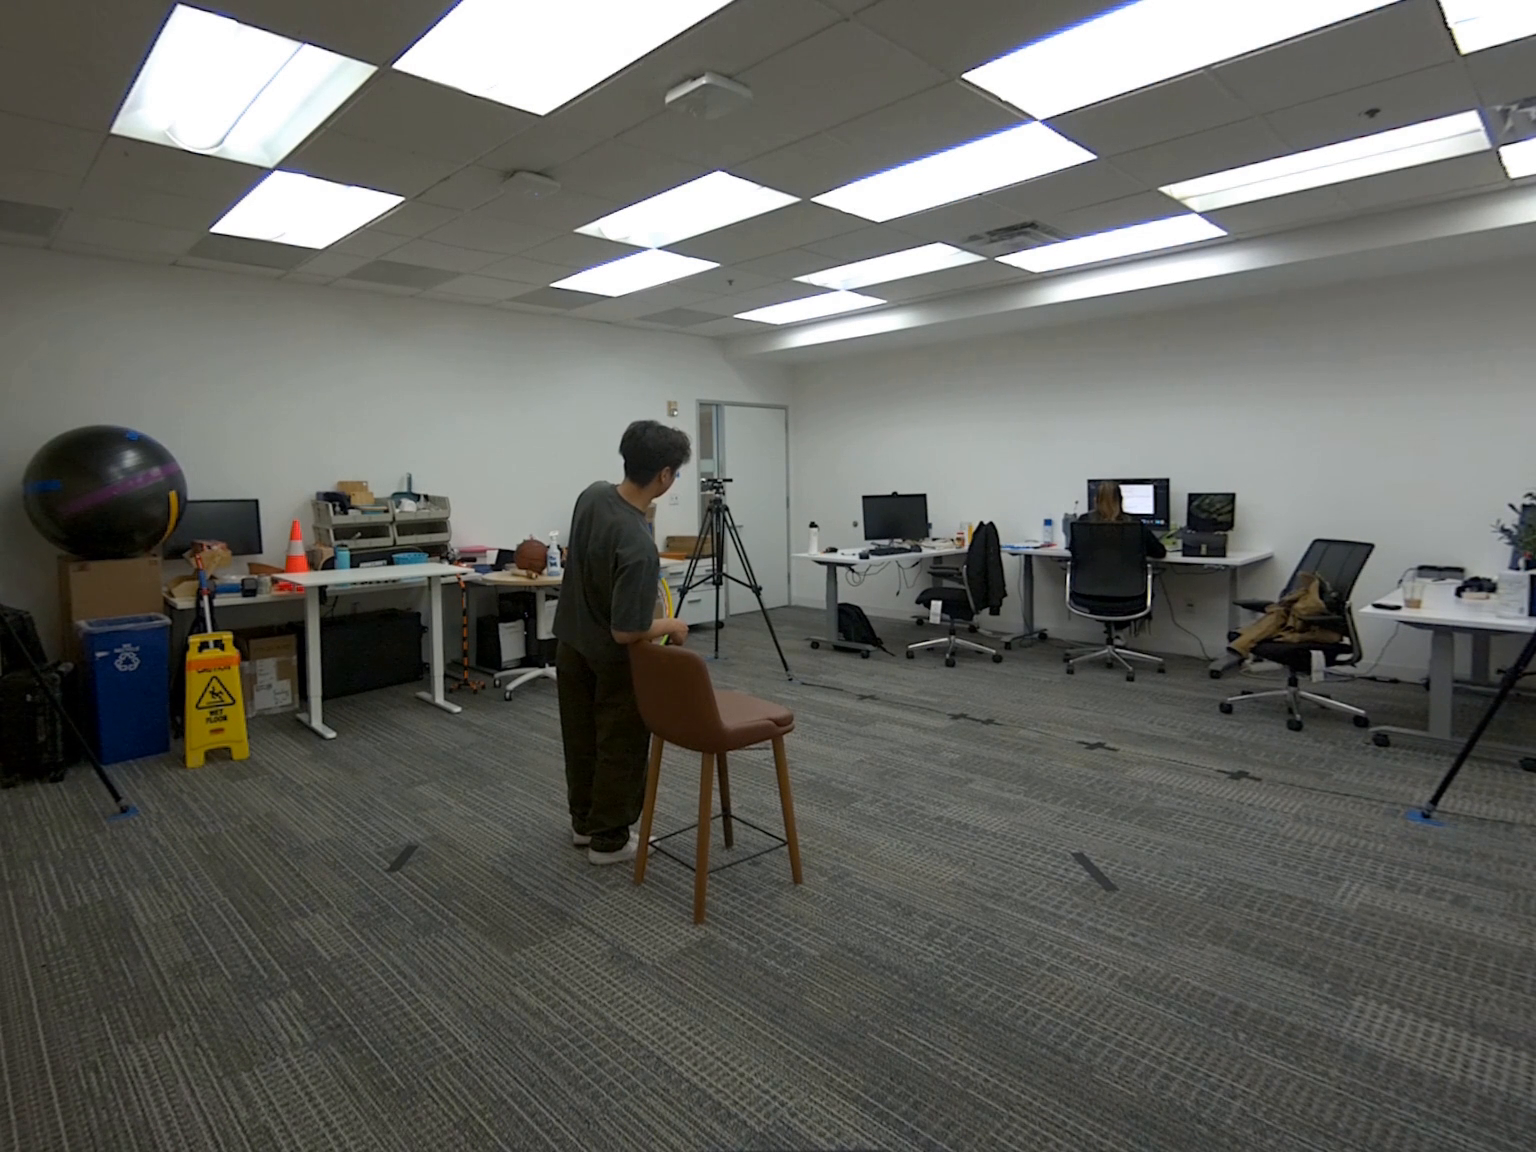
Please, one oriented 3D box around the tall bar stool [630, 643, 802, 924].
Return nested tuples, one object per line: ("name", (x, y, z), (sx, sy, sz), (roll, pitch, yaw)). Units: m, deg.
("tall bar stool", (-0.187, 0.629, 2.929), (0.456, 0.885, 0.470), (-8, 8, -40))
